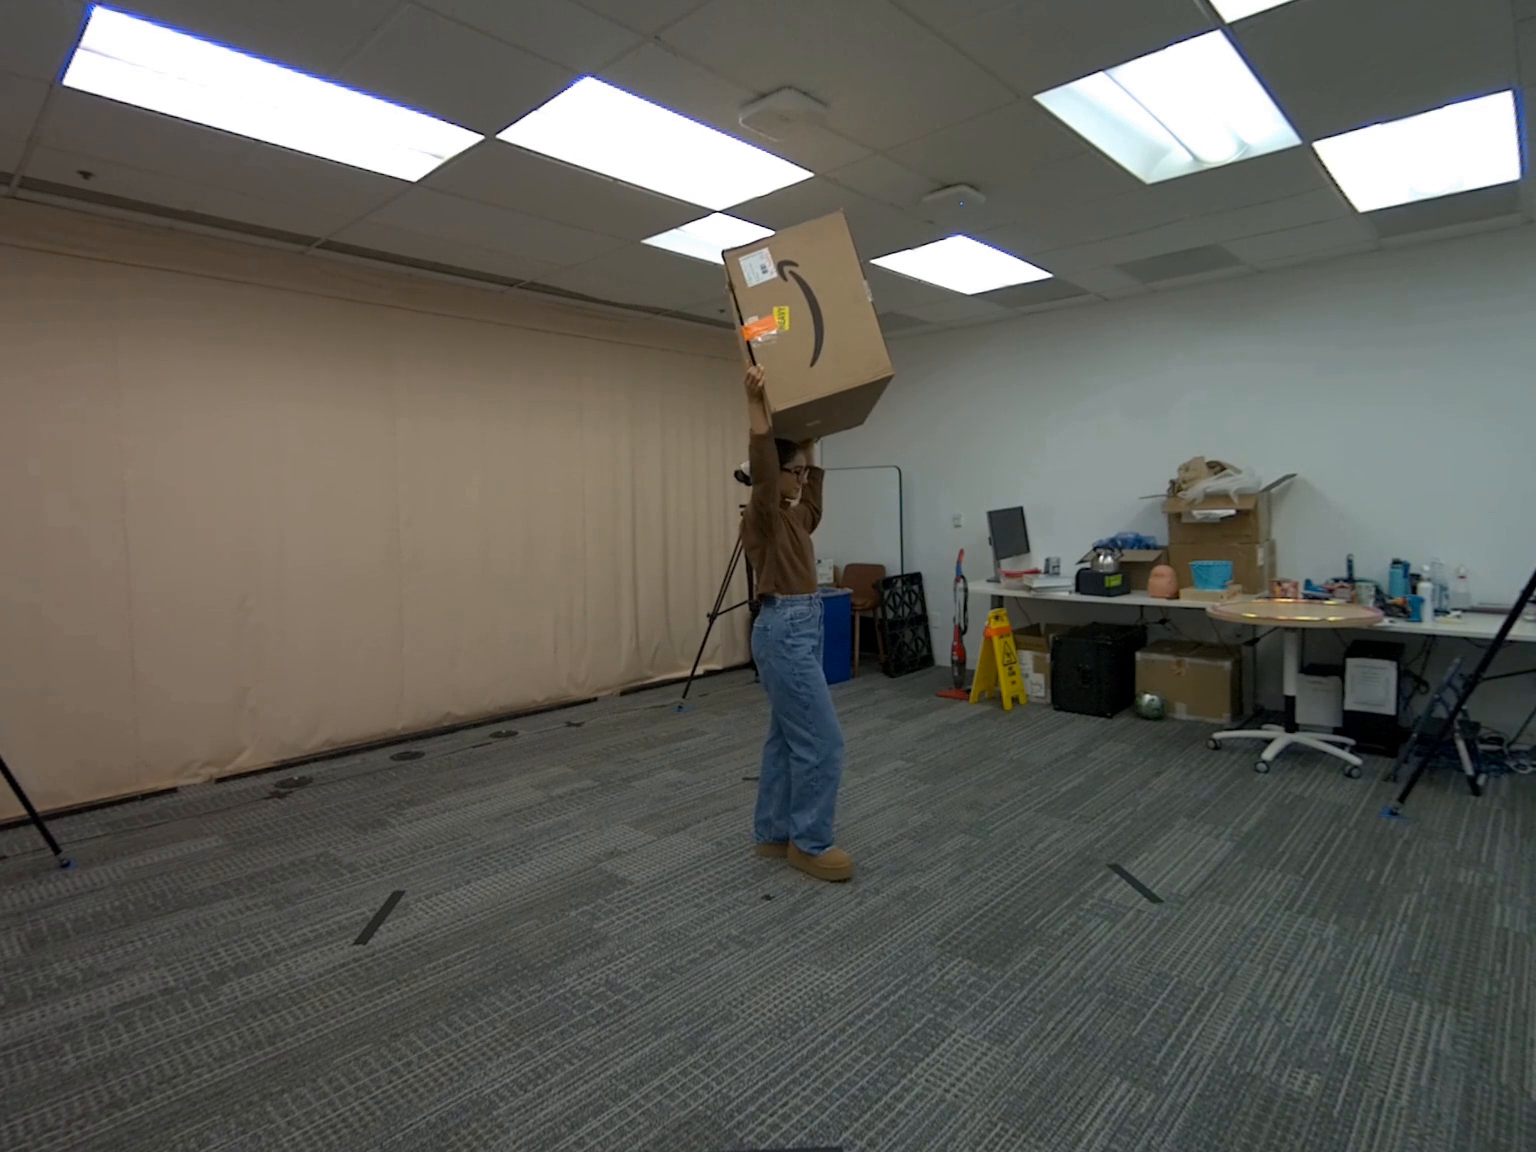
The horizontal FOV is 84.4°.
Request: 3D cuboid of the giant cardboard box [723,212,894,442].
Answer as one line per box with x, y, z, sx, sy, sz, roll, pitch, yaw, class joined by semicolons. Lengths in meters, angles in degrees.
0.139;-0.873;3.265;0.427;0.578;1.022;-18;0;2;giant cardboard box
